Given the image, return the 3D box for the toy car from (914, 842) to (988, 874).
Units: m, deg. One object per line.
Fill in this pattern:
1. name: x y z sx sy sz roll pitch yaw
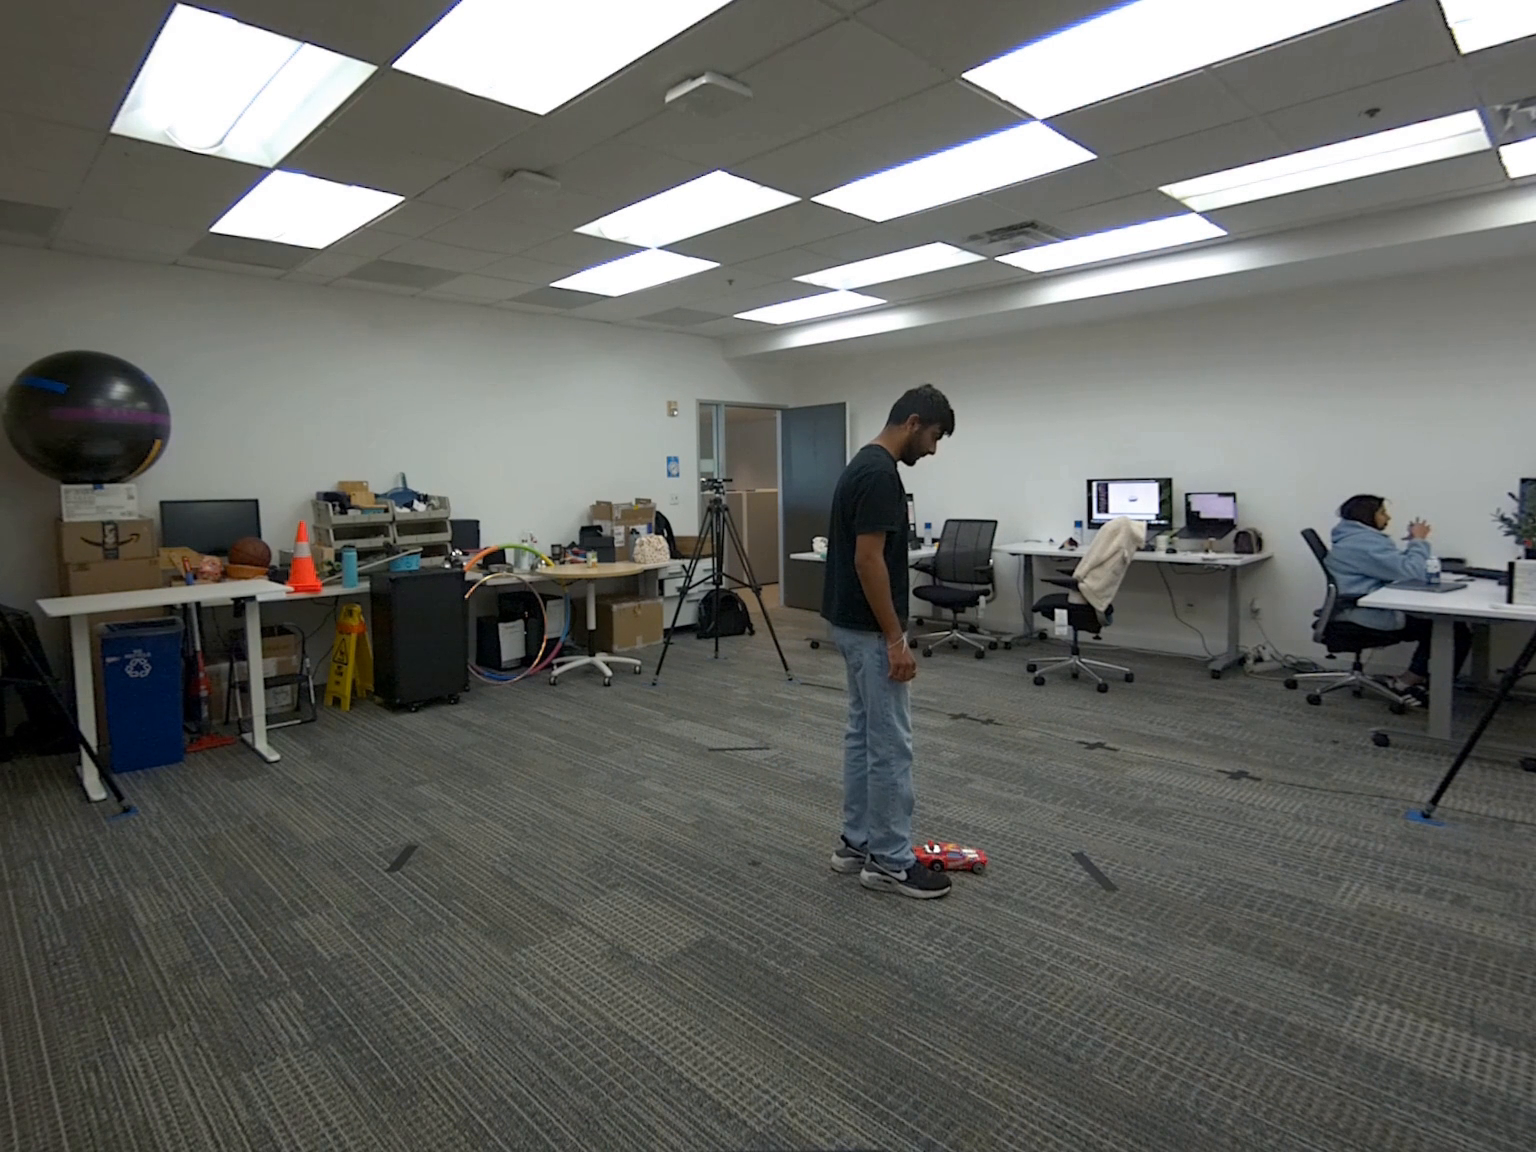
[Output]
1. toy car: 0.641 0.999 3.044 0.255 0.083 0.130 11 6 3
